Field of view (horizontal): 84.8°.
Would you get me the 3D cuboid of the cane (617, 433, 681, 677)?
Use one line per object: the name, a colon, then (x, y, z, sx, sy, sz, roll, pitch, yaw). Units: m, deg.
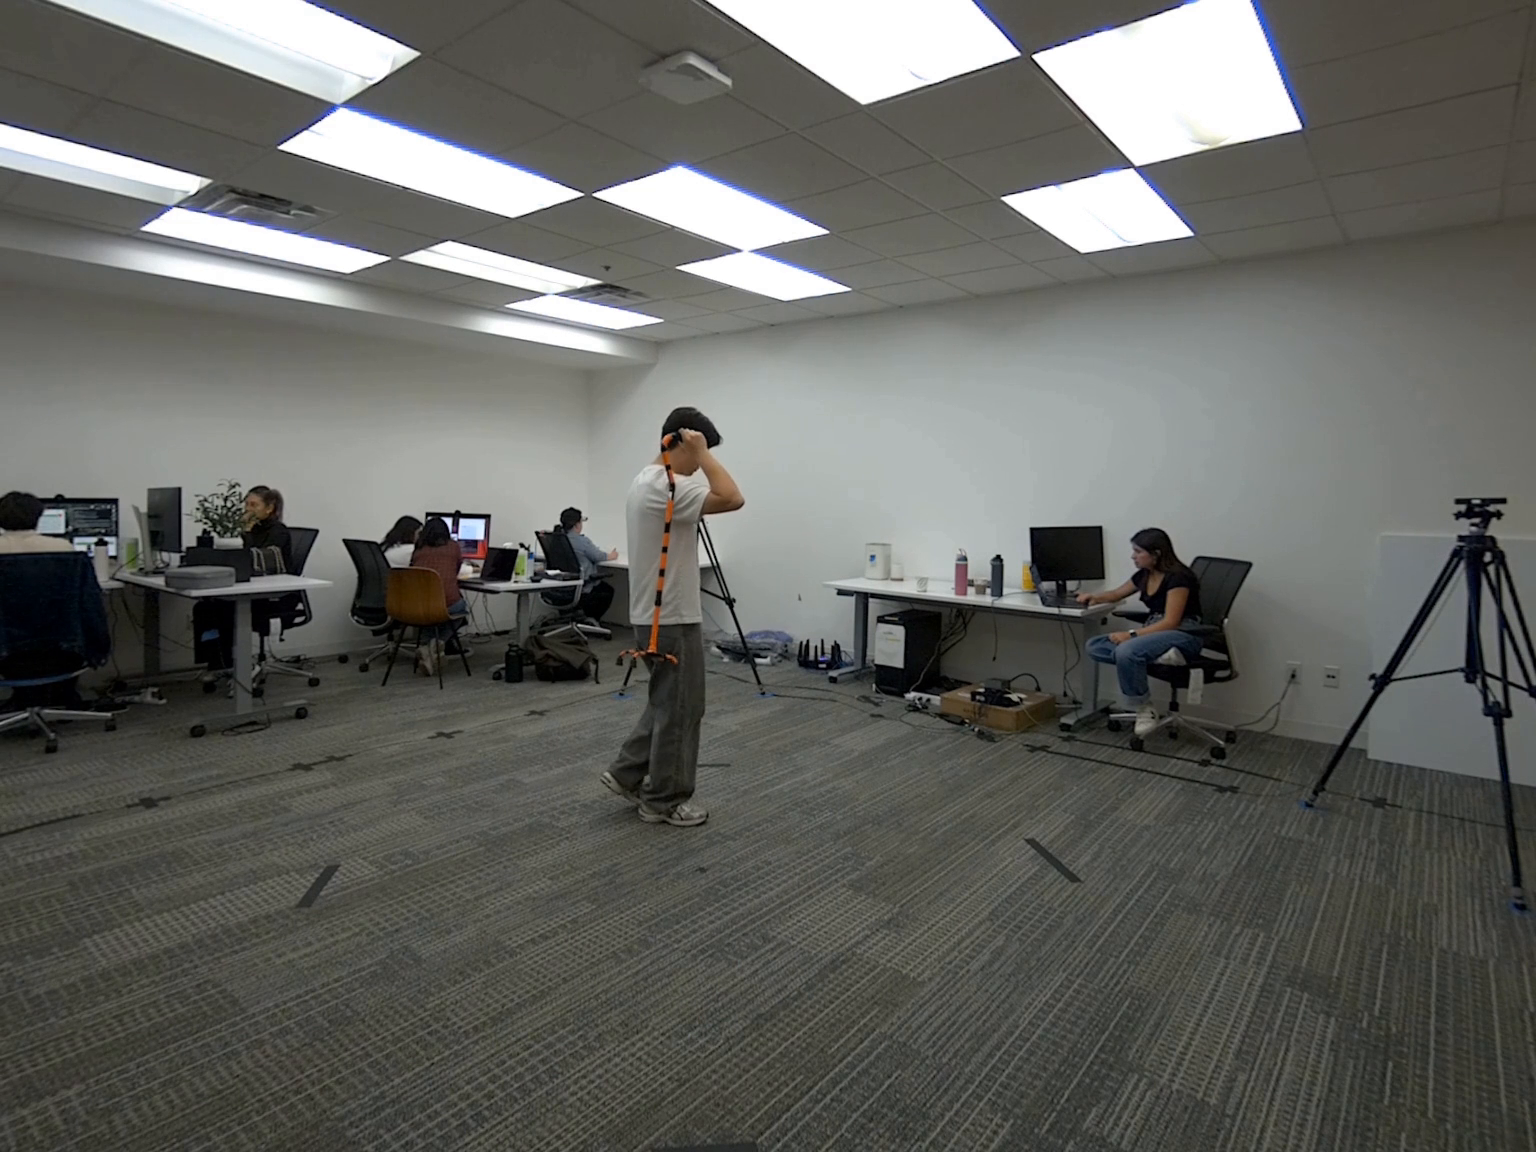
cane: (-0.407, -0.116, 3.241, 0.200, 0.912, 0.156, 10, -7, -32)
